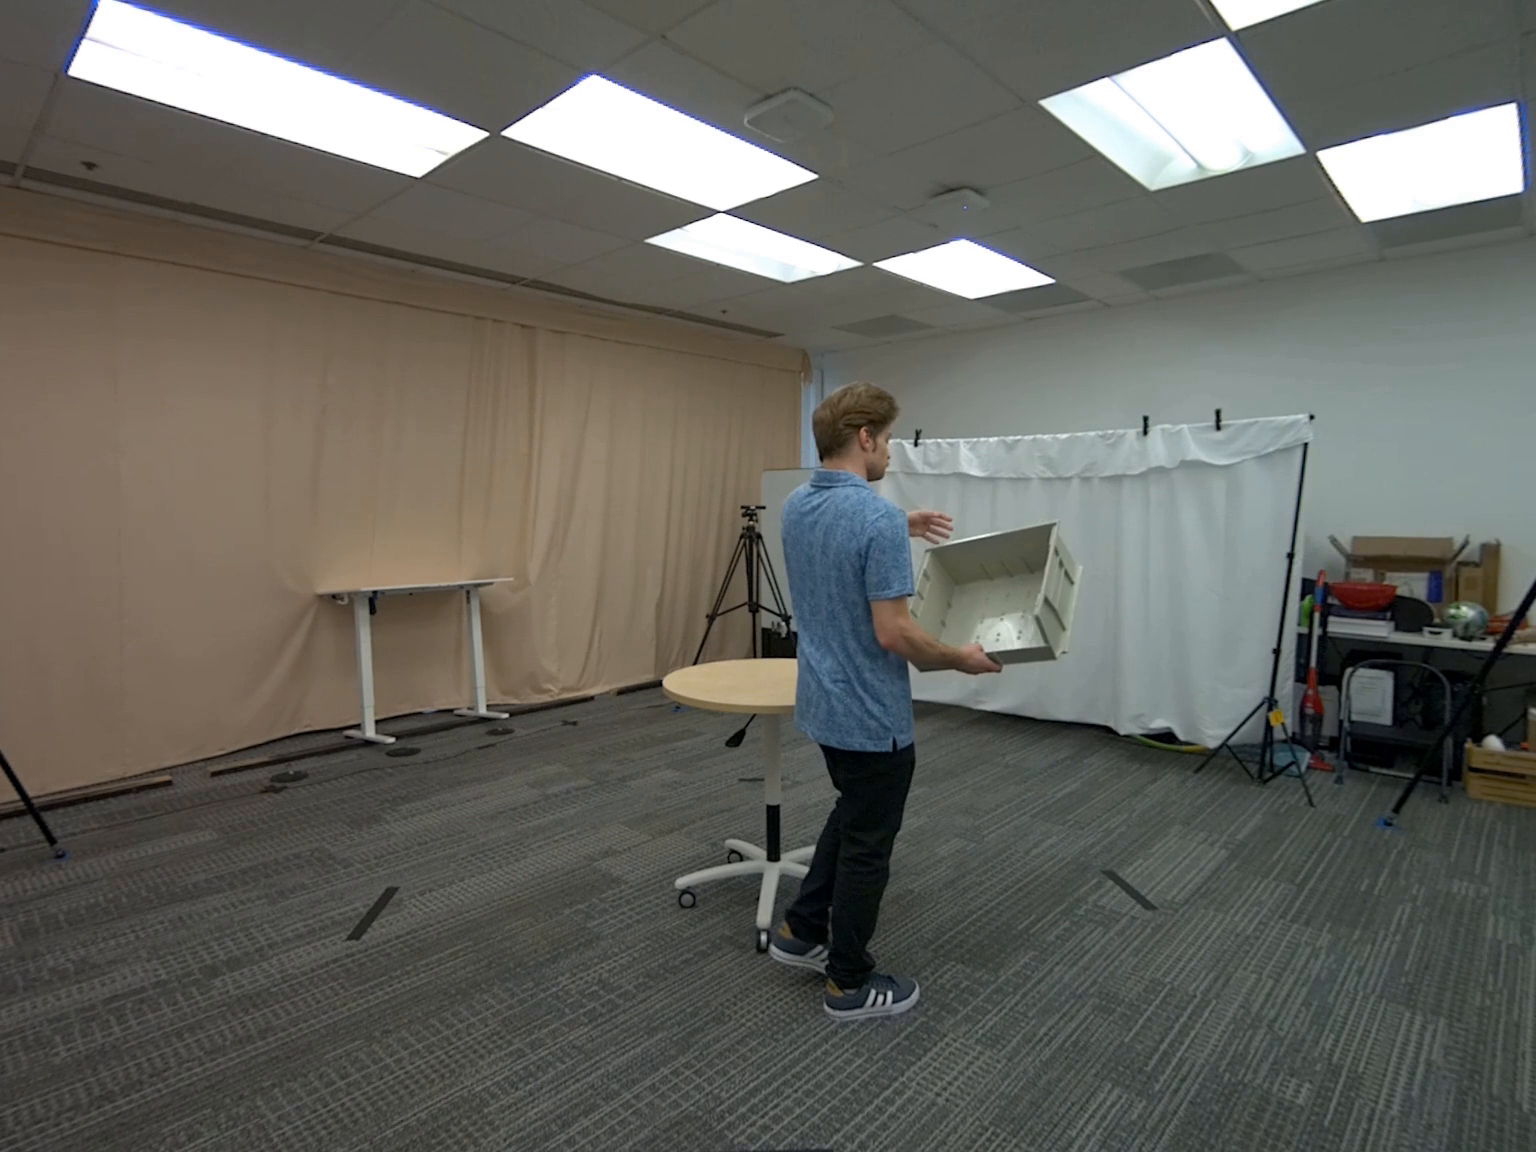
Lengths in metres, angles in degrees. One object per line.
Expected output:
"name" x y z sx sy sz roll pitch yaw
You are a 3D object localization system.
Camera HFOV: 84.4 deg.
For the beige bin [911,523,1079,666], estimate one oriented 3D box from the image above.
"beige bin" 0.638 0.076 2.379 0.433 0.184 0.378 -14 37 42
